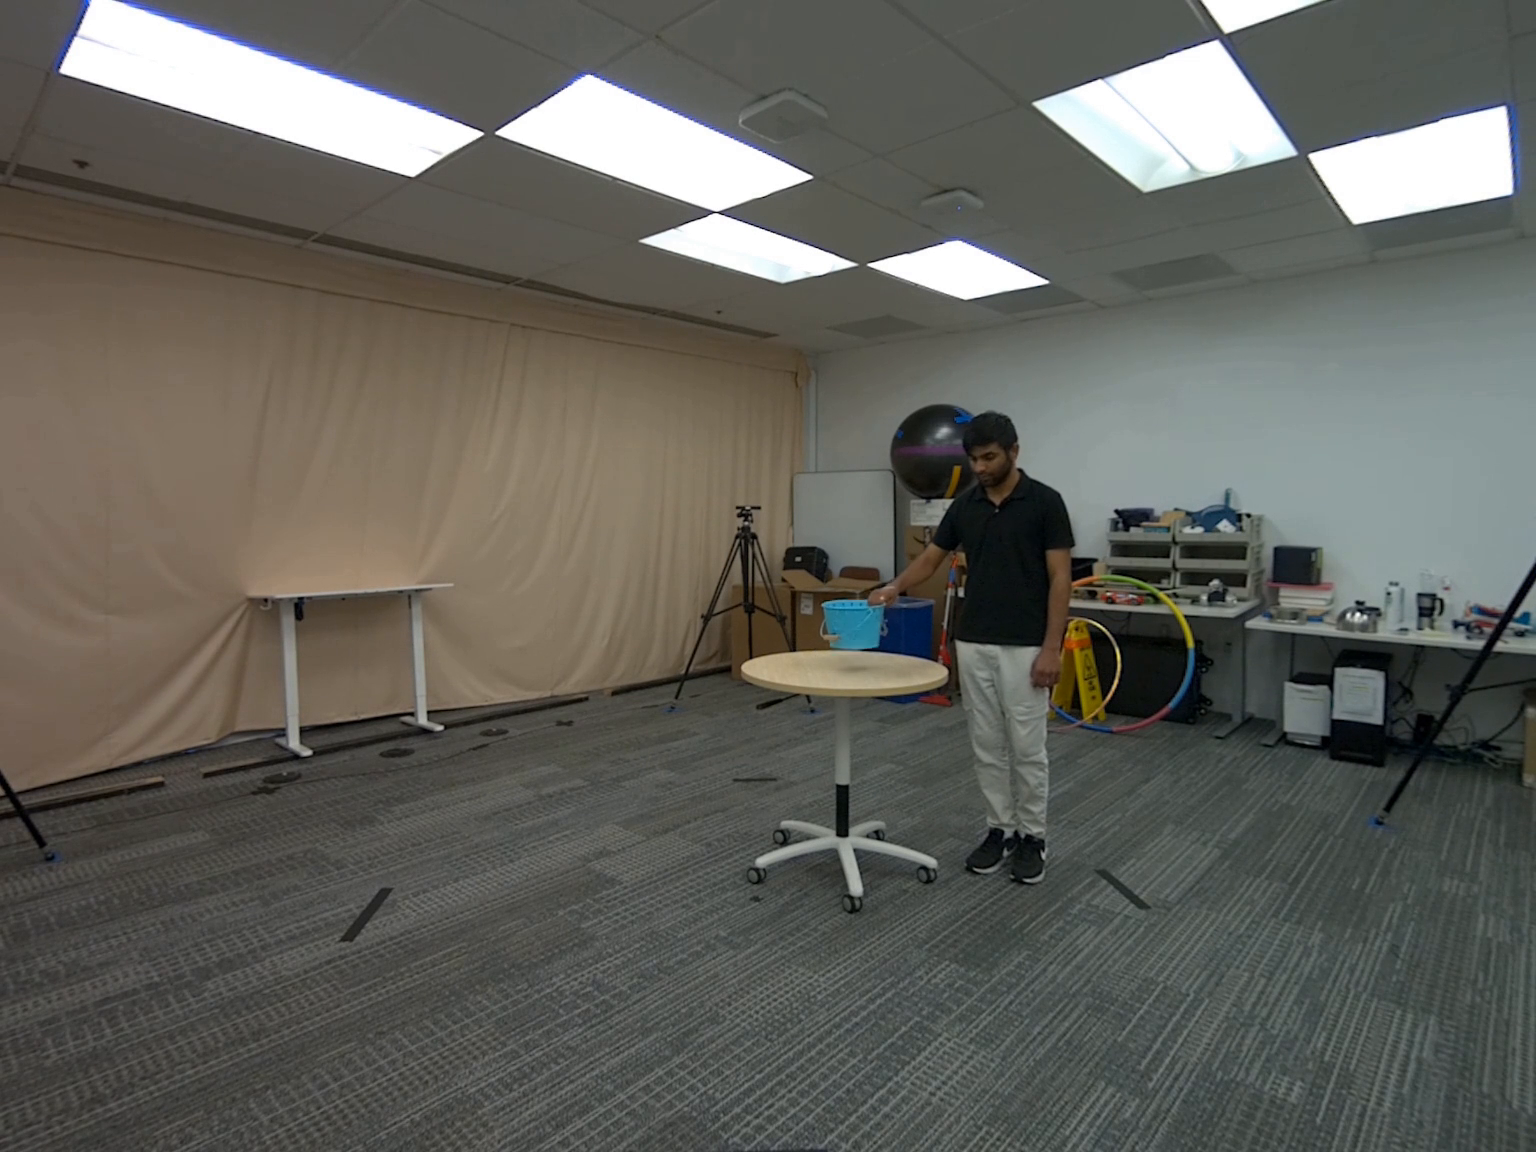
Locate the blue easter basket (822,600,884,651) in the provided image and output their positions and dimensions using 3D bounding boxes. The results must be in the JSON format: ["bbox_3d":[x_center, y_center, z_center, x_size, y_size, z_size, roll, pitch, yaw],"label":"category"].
[{"bbox_3d":[0.328,0.187,3.106,0.243,0.155,0.244,-1,3,-2],"label":"blue easter basket"}]
